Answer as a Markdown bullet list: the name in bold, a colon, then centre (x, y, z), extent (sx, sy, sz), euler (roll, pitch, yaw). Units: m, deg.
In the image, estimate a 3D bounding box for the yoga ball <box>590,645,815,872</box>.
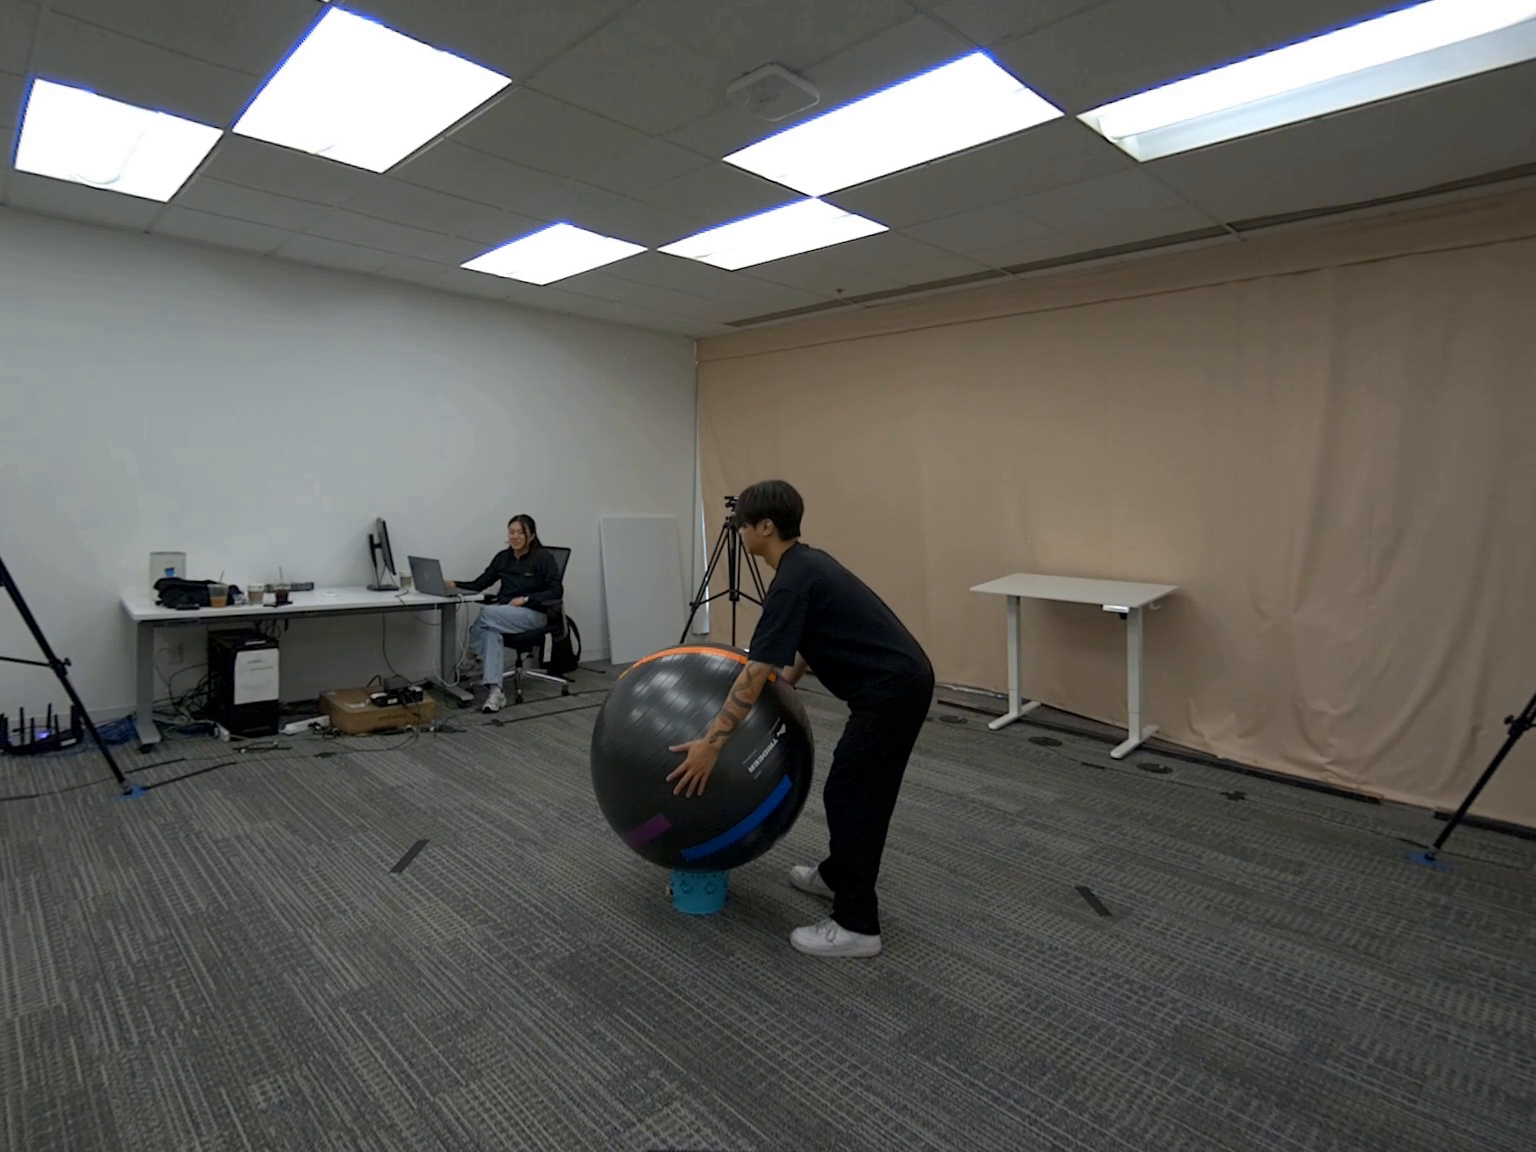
- **yoga ball**: centre (-0.230, 0.614, 2.865), extent (0.757, 0.756, 0.761), euler (1, 4, -1)
